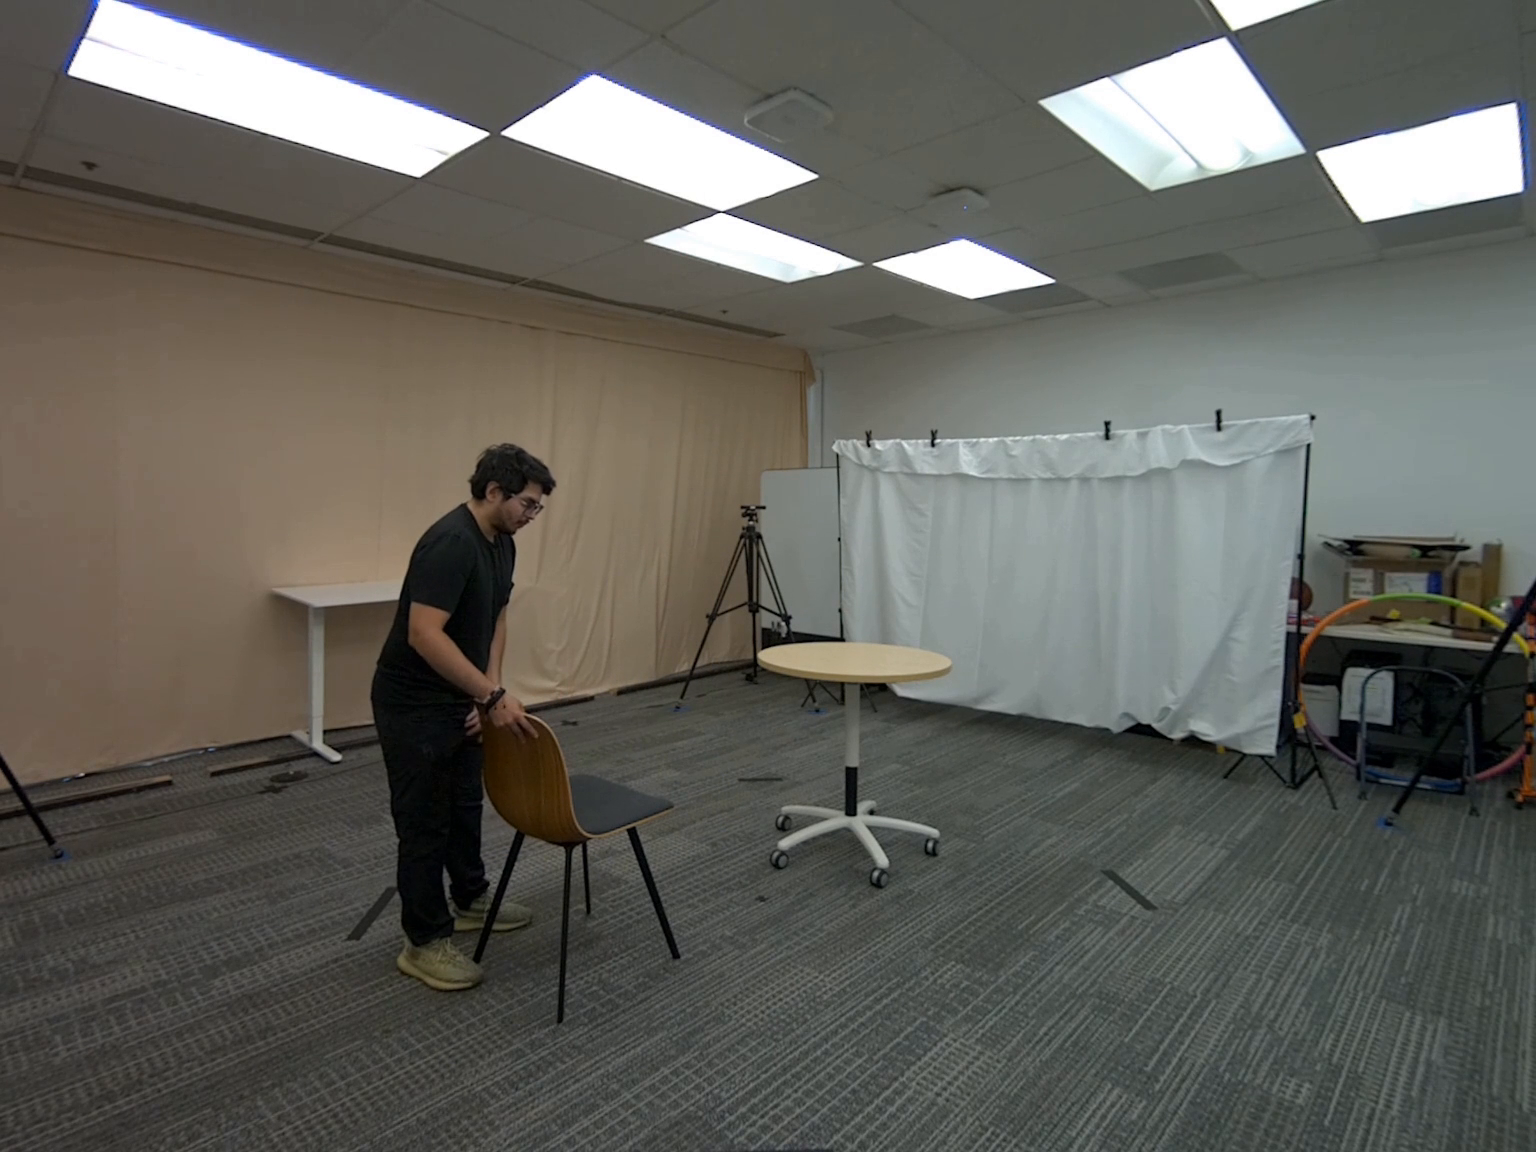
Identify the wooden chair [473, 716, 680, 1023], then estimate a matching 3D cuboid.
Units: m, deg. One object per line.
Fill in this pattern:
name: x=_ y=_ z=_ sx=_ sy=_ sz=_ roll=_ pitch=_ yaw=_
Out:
wooden chair: x=-0.578 y=0.757 z=2.550 sx=0.494 sy=0.873 sz=0.508 roll=2 pitch=8 yaw=42
